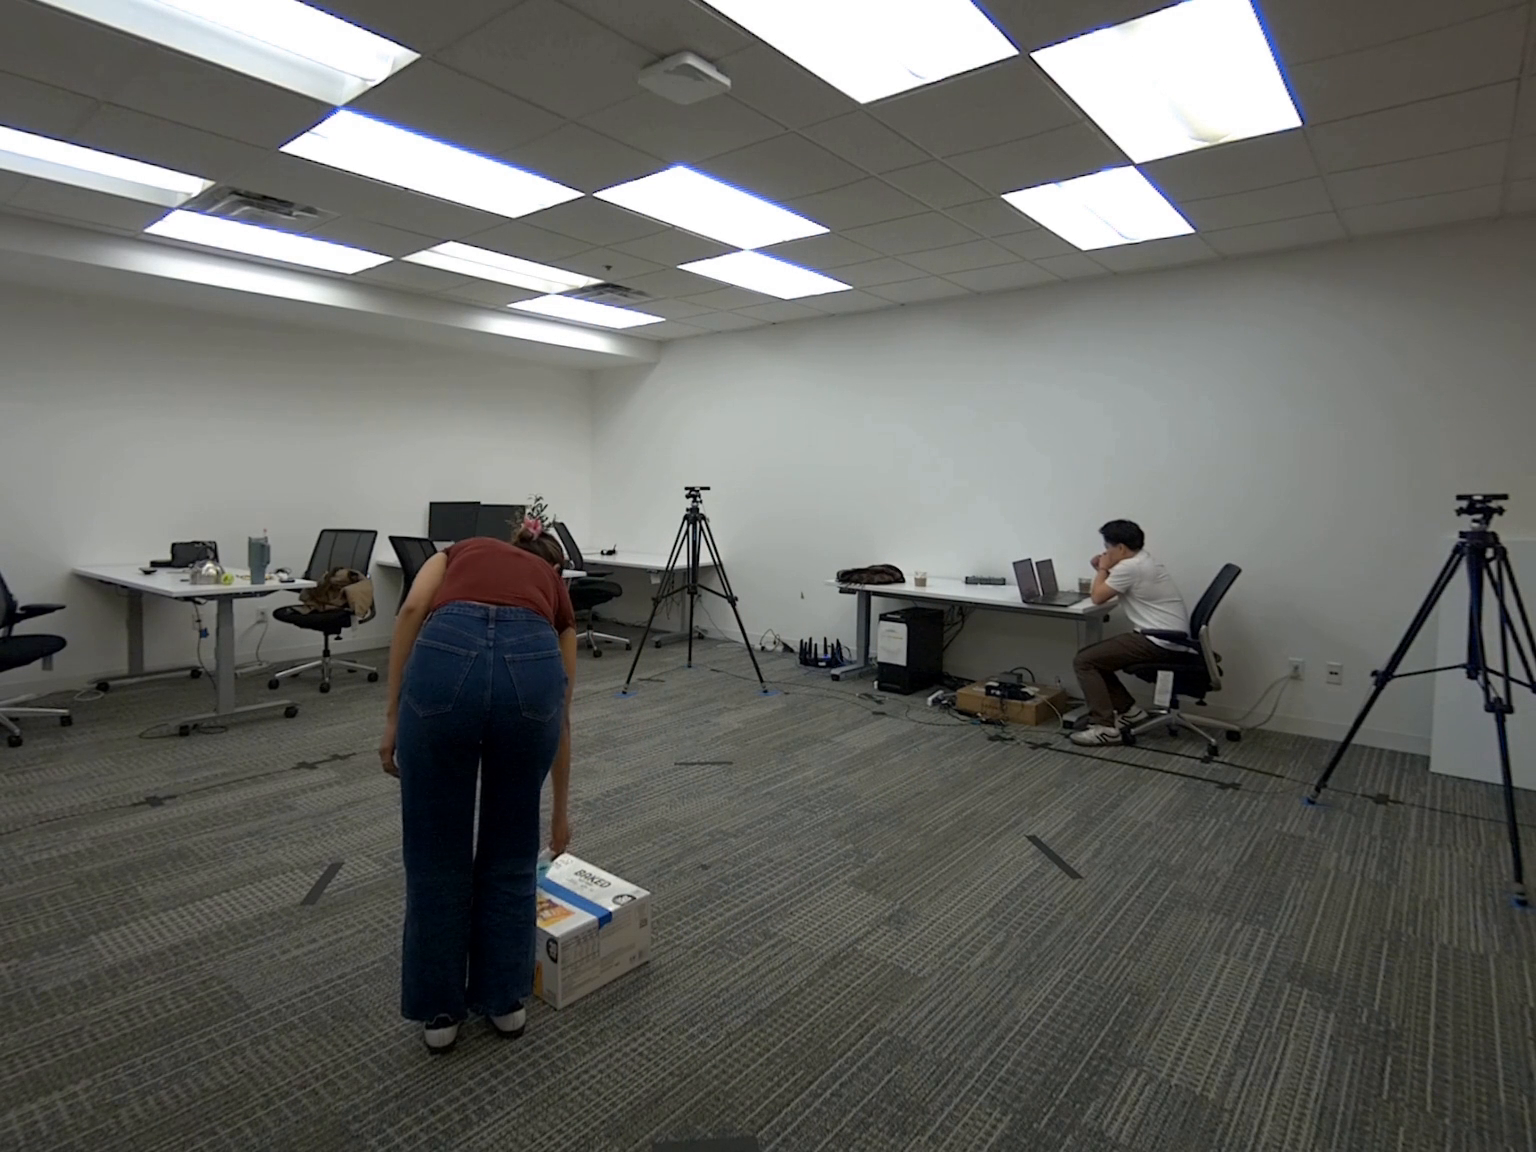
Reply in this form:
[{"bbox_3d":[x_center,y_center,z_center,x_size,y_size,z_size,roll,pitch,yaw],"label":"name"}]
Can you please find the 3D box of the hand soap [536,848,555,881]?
[{"bbox_3d":[-0.675,0.836,2.497,0.045,0.168,0.082,48,21,27],"label":"hand soap"}]
